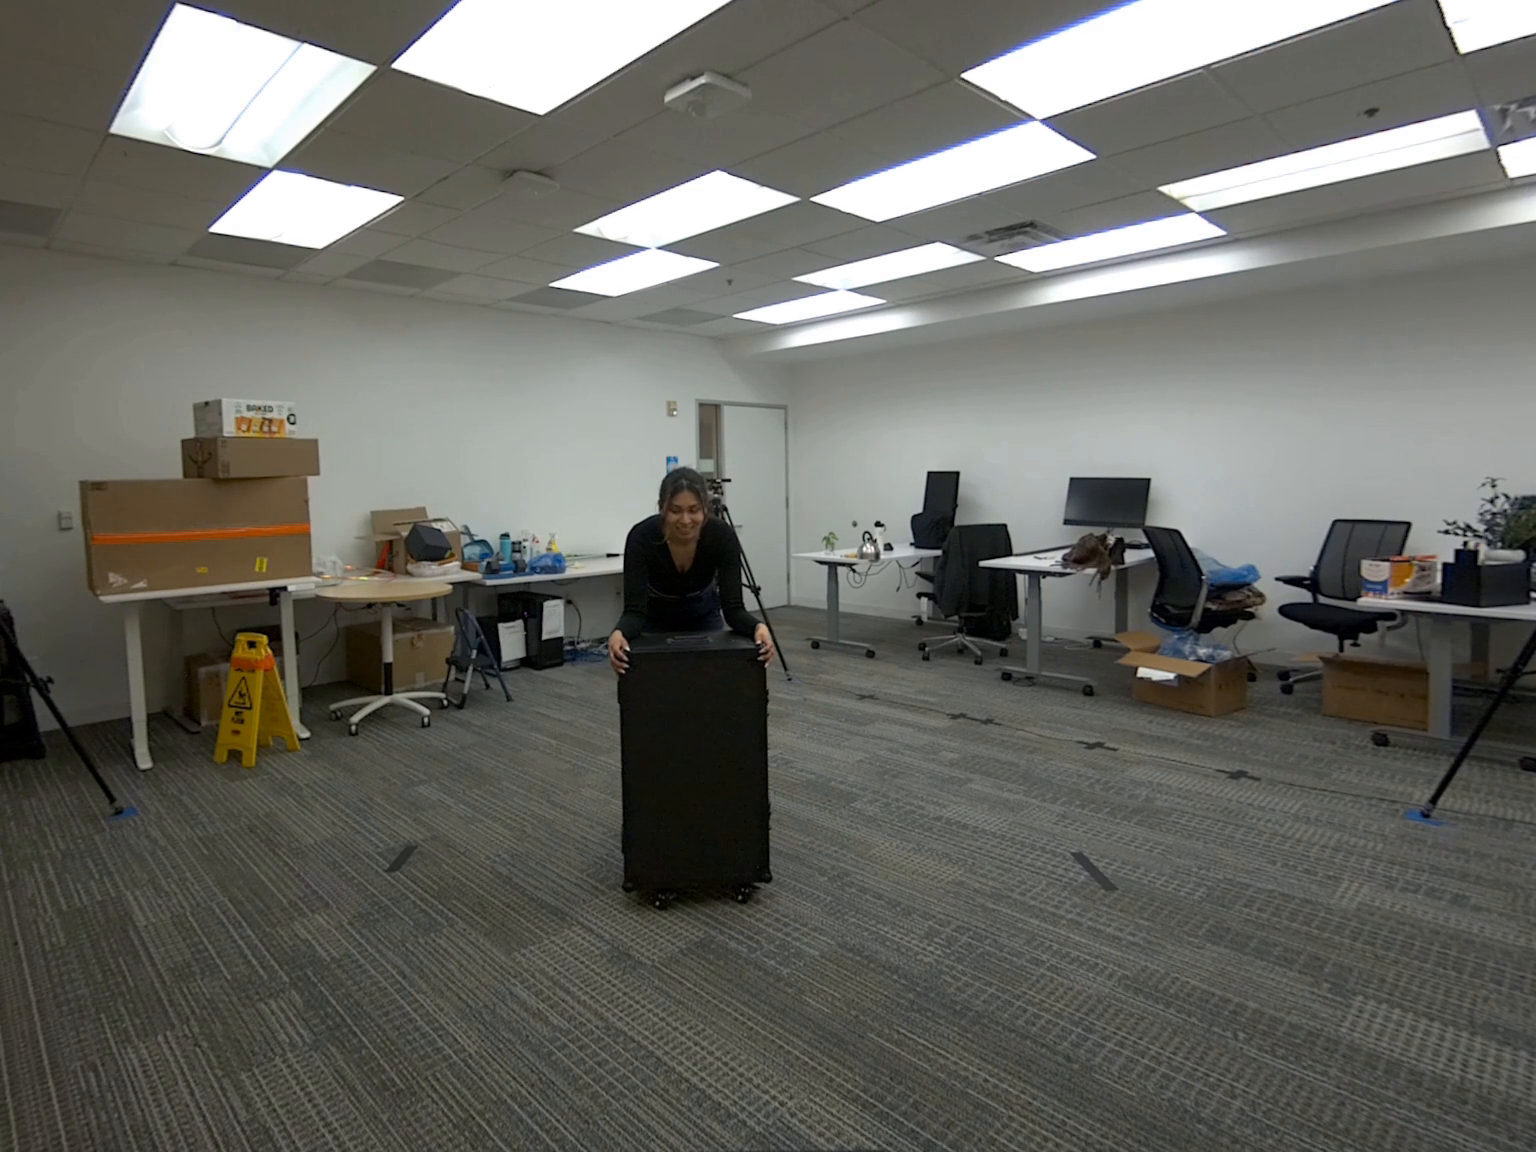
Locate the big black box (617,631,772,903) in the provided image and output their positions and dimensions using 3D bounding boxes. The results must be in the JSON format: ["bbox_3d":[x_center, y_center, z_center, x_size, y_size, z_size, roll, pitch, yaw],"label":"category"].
[{"bbox_3d":[-0.268,0.645,2.949,0.518,0.860,0.399,-2,2,-7],"label":"big black box"}]
